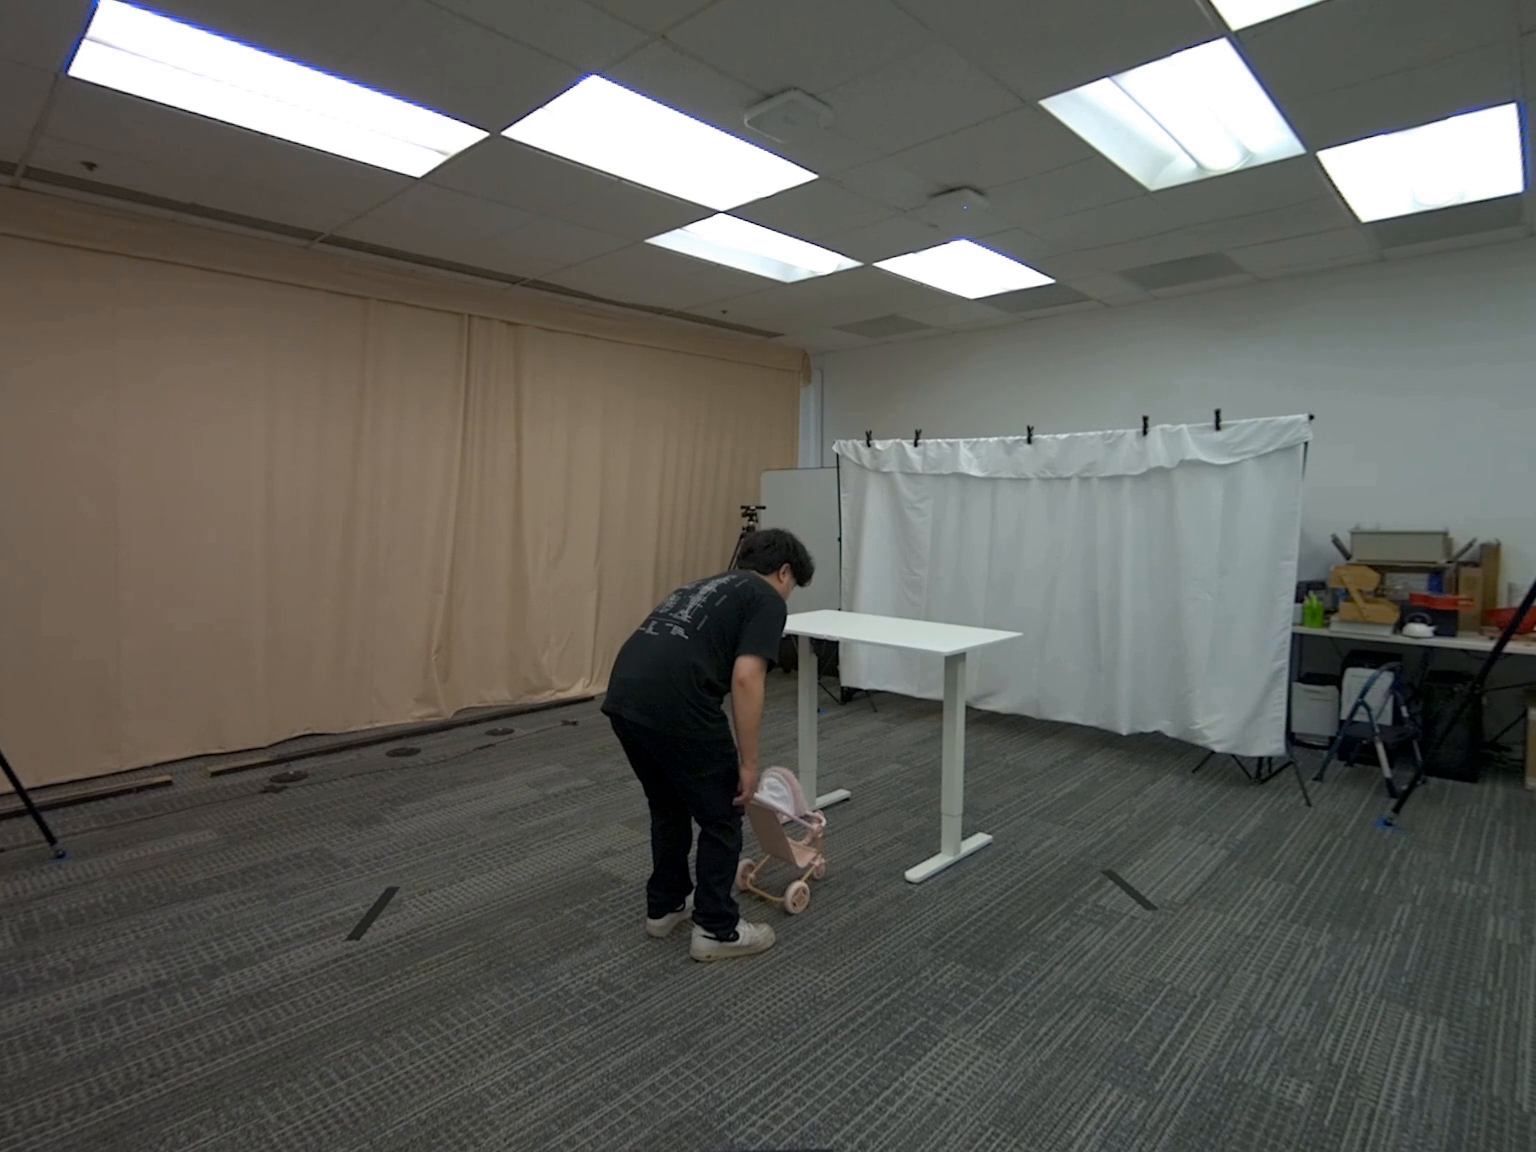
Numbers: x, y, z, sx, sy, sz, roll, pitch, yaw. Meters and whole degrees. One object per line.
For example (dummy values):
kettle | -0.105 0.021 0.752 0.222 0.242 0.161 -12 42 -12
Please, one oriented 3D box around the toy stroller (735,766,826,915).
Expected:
toy stroller | 0.056 0.918 2.997 0.334 0.529 0.291 -22 17 -38
